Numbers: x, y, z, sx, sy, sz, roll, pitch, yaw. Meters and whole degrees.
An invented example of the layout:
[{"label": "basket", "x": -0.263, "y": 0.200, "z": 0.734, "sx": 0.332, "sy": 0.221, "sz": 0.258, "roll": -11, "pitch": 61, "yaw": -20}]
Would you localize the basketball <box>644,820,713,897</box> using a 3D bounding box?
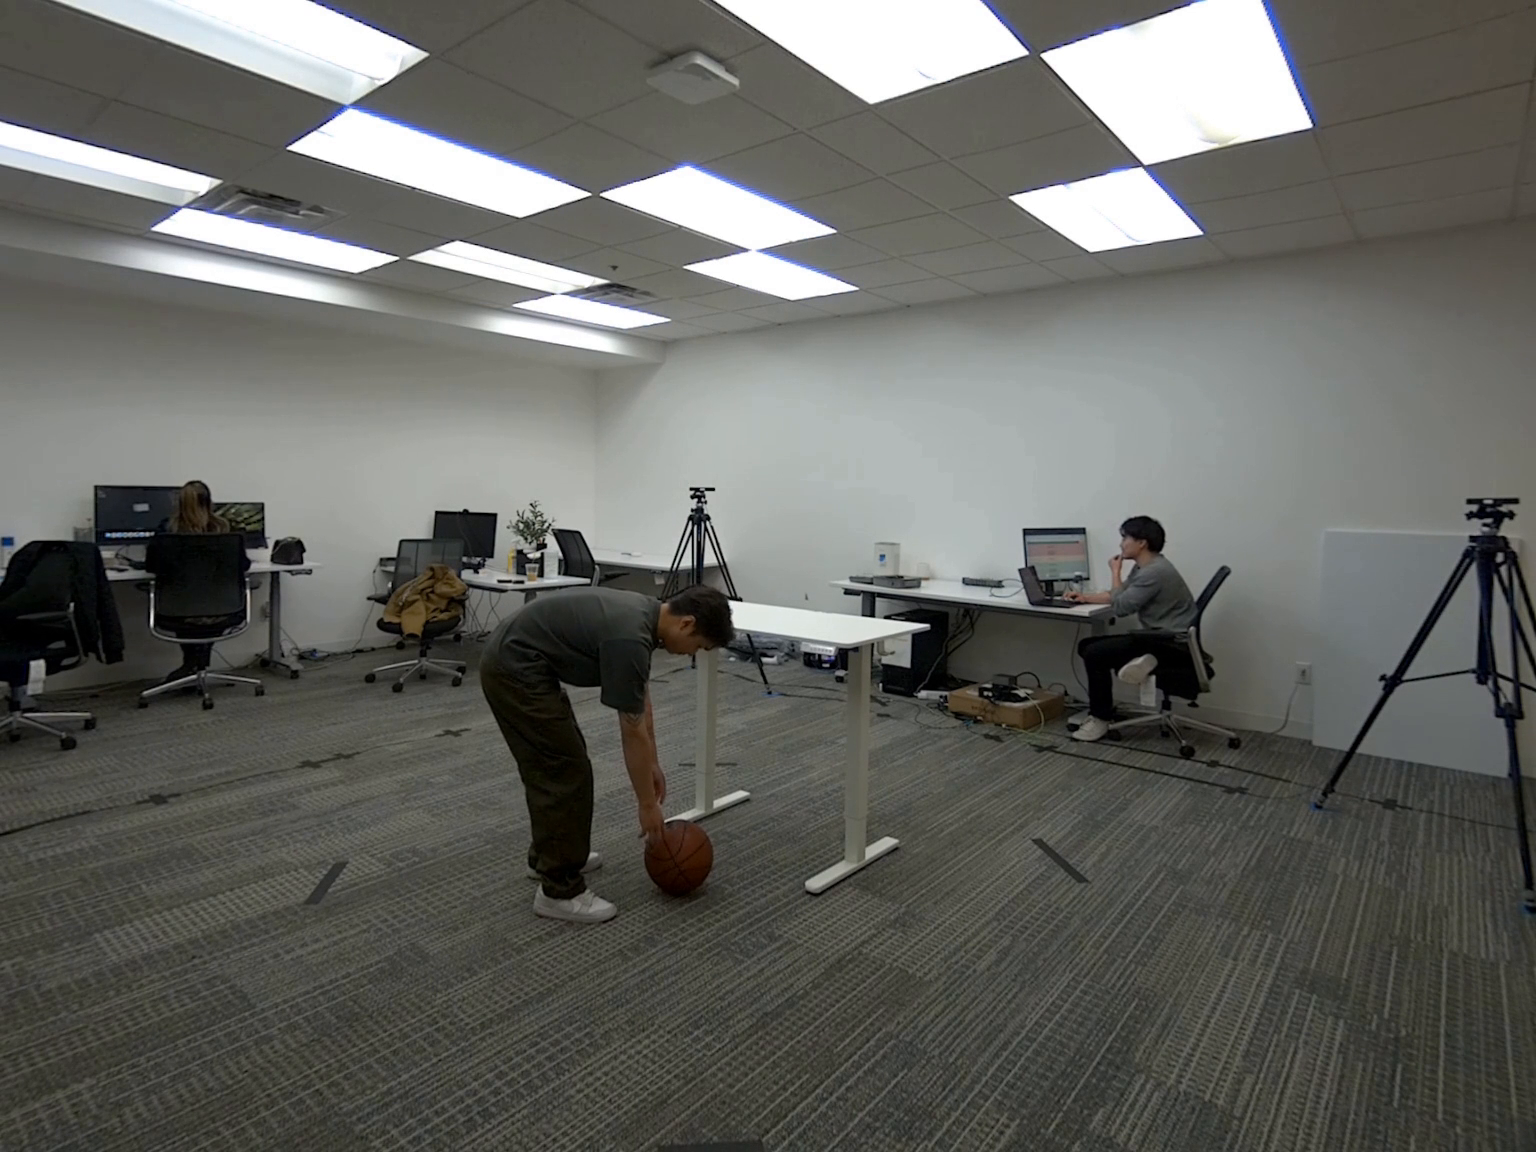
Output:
[{"label": "basketball", "x": -0.320, "y": 0.963, "z": 2.927, "sx": 0.235, "sy": 0.235, "sz": 0.237, "roll": 1, "pitch": 4, "yaw": -2}]
